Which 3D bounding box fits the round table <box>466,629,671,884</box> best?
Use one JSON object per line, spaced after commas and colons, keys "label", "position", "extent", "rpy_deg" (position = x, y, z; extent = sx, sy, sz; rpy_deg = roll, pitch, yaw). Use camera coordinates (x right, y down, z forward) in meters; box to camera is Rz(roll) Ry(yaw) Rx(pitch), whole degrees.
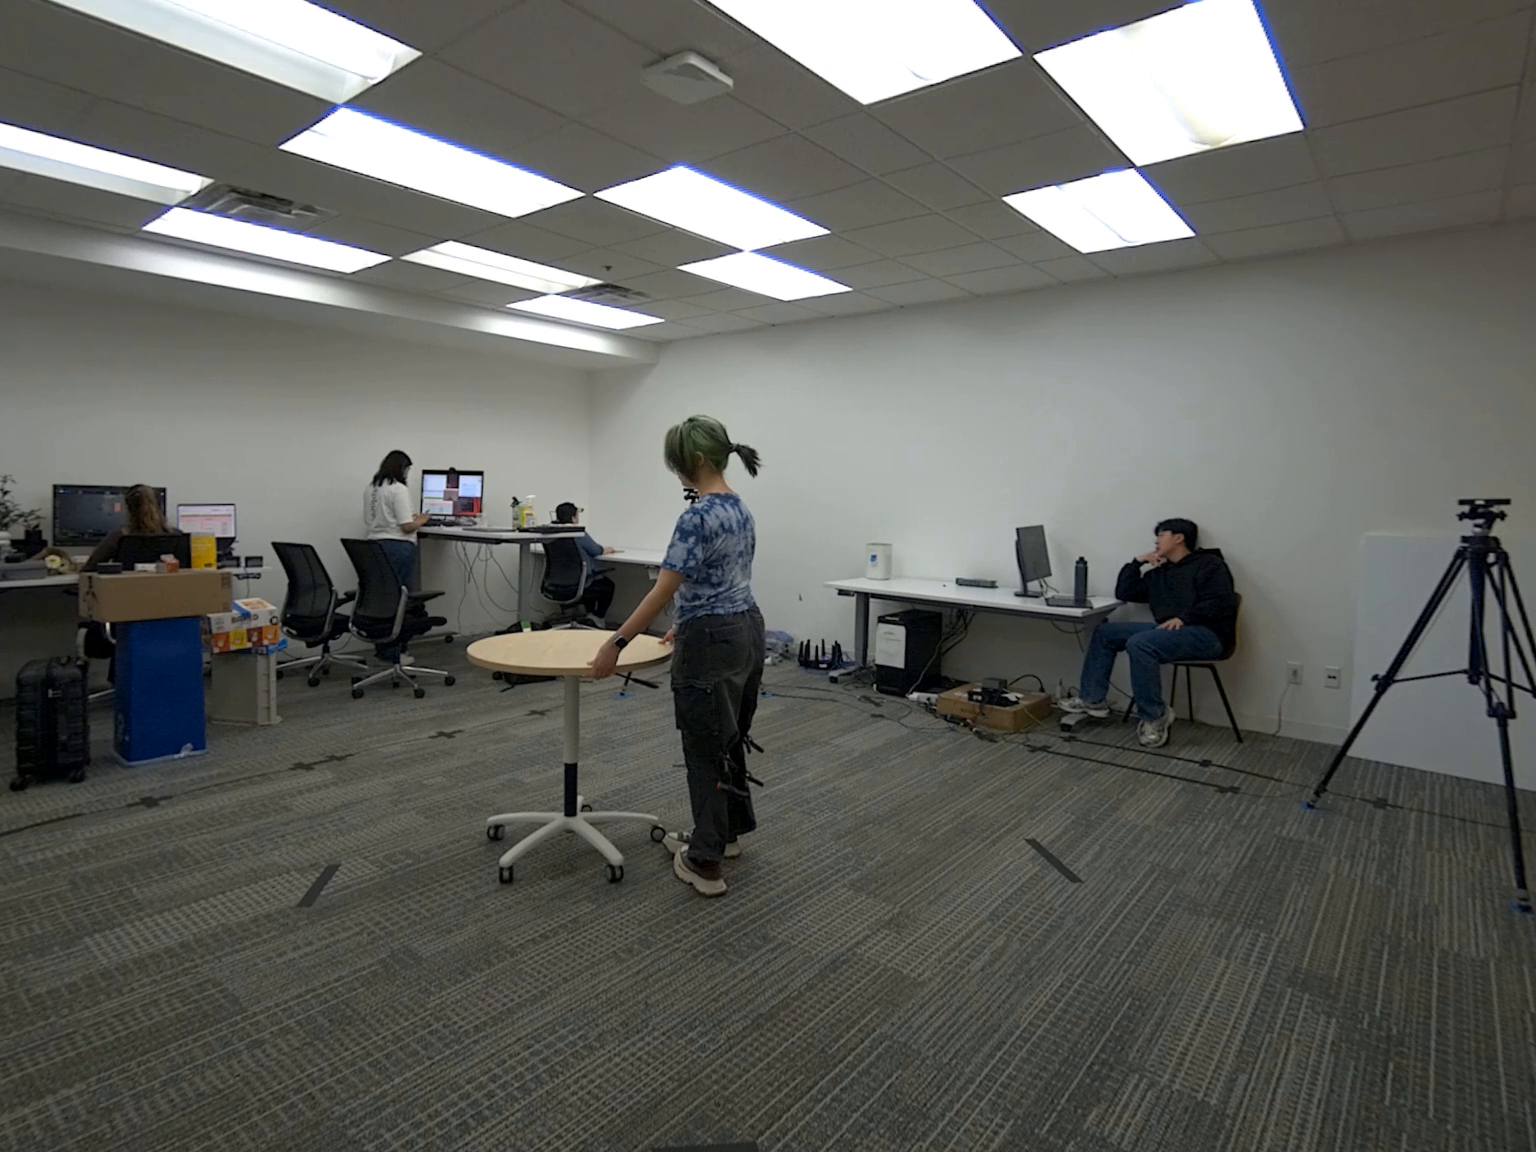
{"label": "round table", "position": [-0.757, 0.660, 3.229], "extent": [0.763, 0.791, 0.768], "rpy_deg": [1, 4, -2]}
